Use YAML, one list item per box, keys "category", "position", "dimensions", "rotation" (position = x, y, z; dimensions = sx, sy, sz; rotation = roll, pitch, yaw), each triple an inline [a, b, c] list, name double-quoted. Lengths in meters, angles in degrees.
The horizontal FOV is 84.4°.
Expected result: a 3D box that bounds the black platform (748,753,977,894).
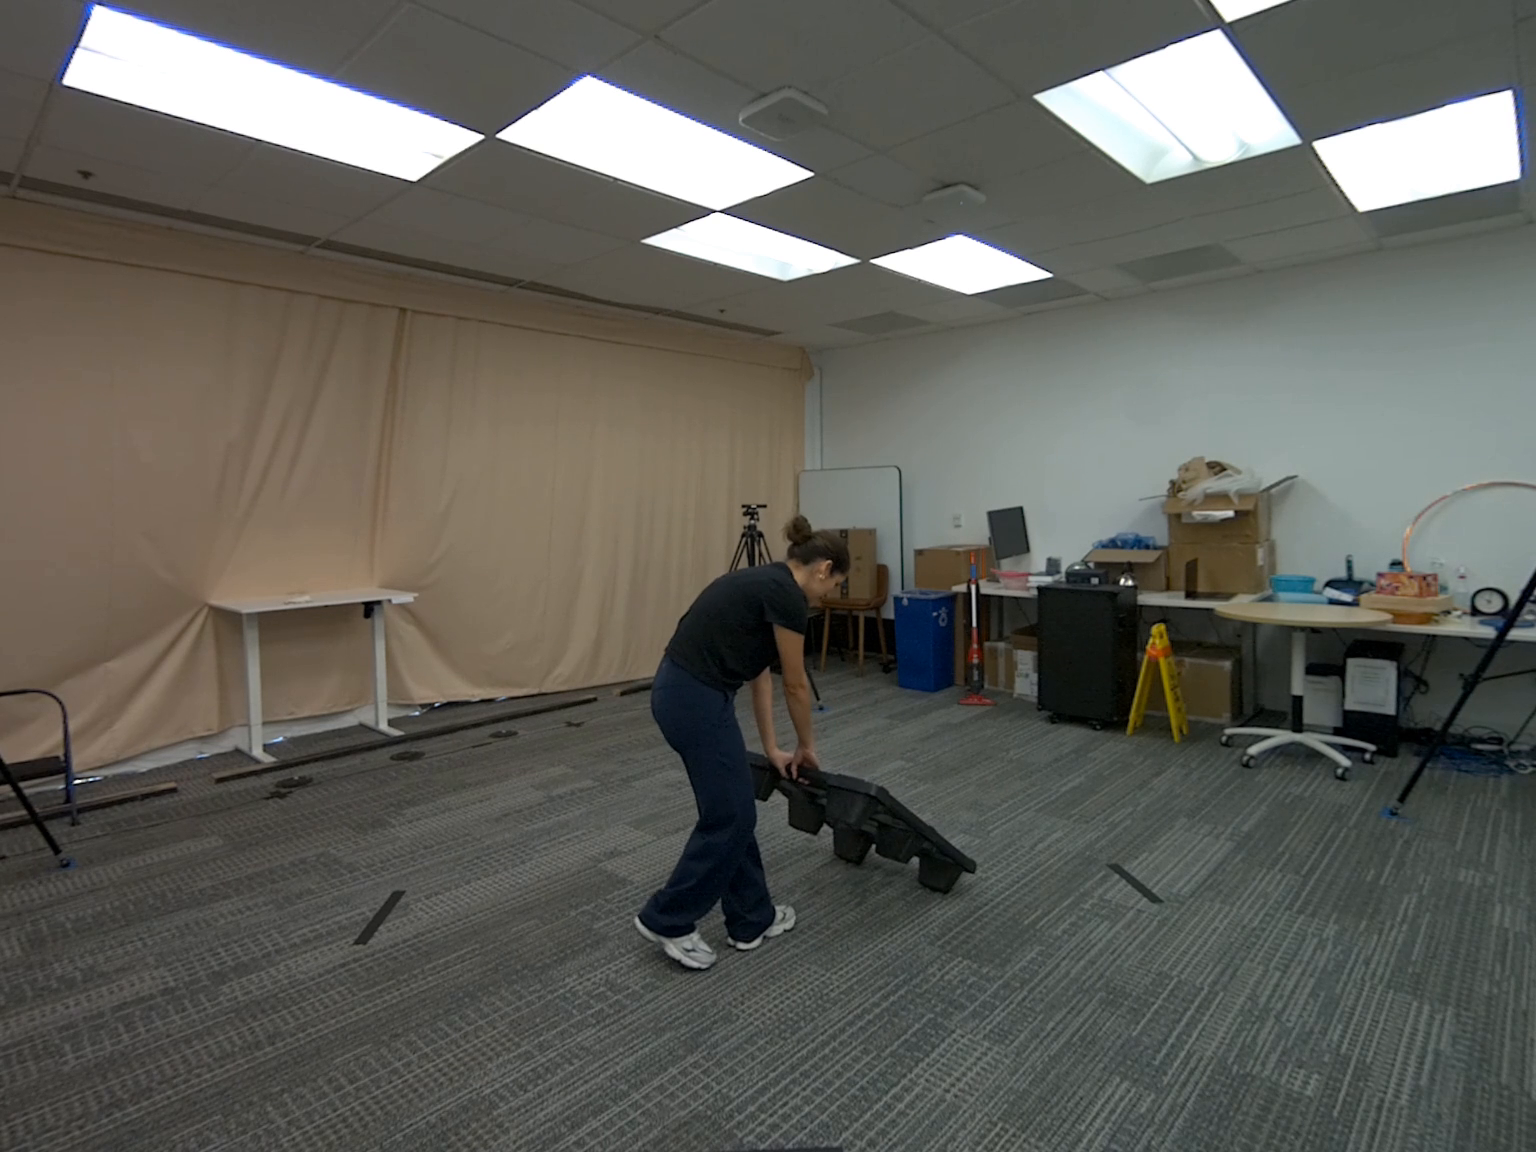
- category: "black platform"
  position: [0.302, 0.870, 2.942]
  dimensions: [0.625, 0.144, 0.777]
  rotation: [3, -31, 41]
